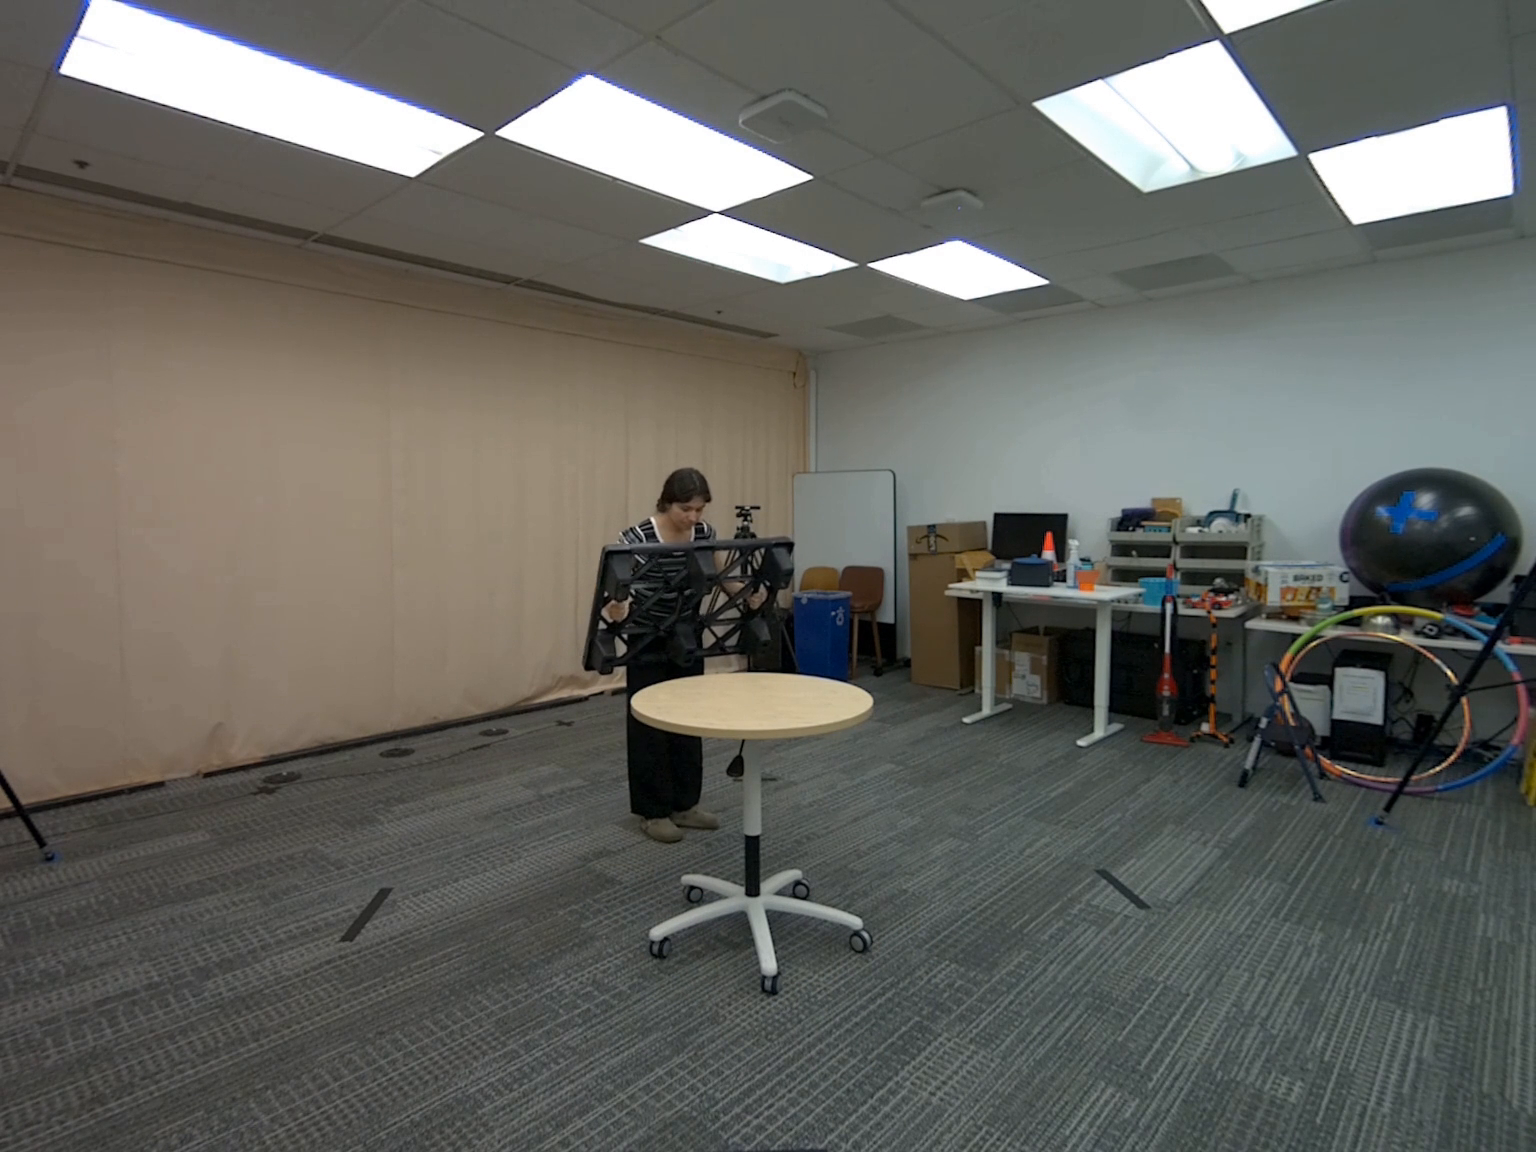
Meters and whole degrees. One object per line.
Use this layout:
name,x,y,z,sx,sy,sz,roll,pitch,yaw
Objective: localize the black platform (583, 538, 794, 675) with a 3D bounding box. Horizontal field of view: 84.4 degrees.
black platform,-0.290,0.139,3.349,0.787,0.599,0.148,-3,38,-25
